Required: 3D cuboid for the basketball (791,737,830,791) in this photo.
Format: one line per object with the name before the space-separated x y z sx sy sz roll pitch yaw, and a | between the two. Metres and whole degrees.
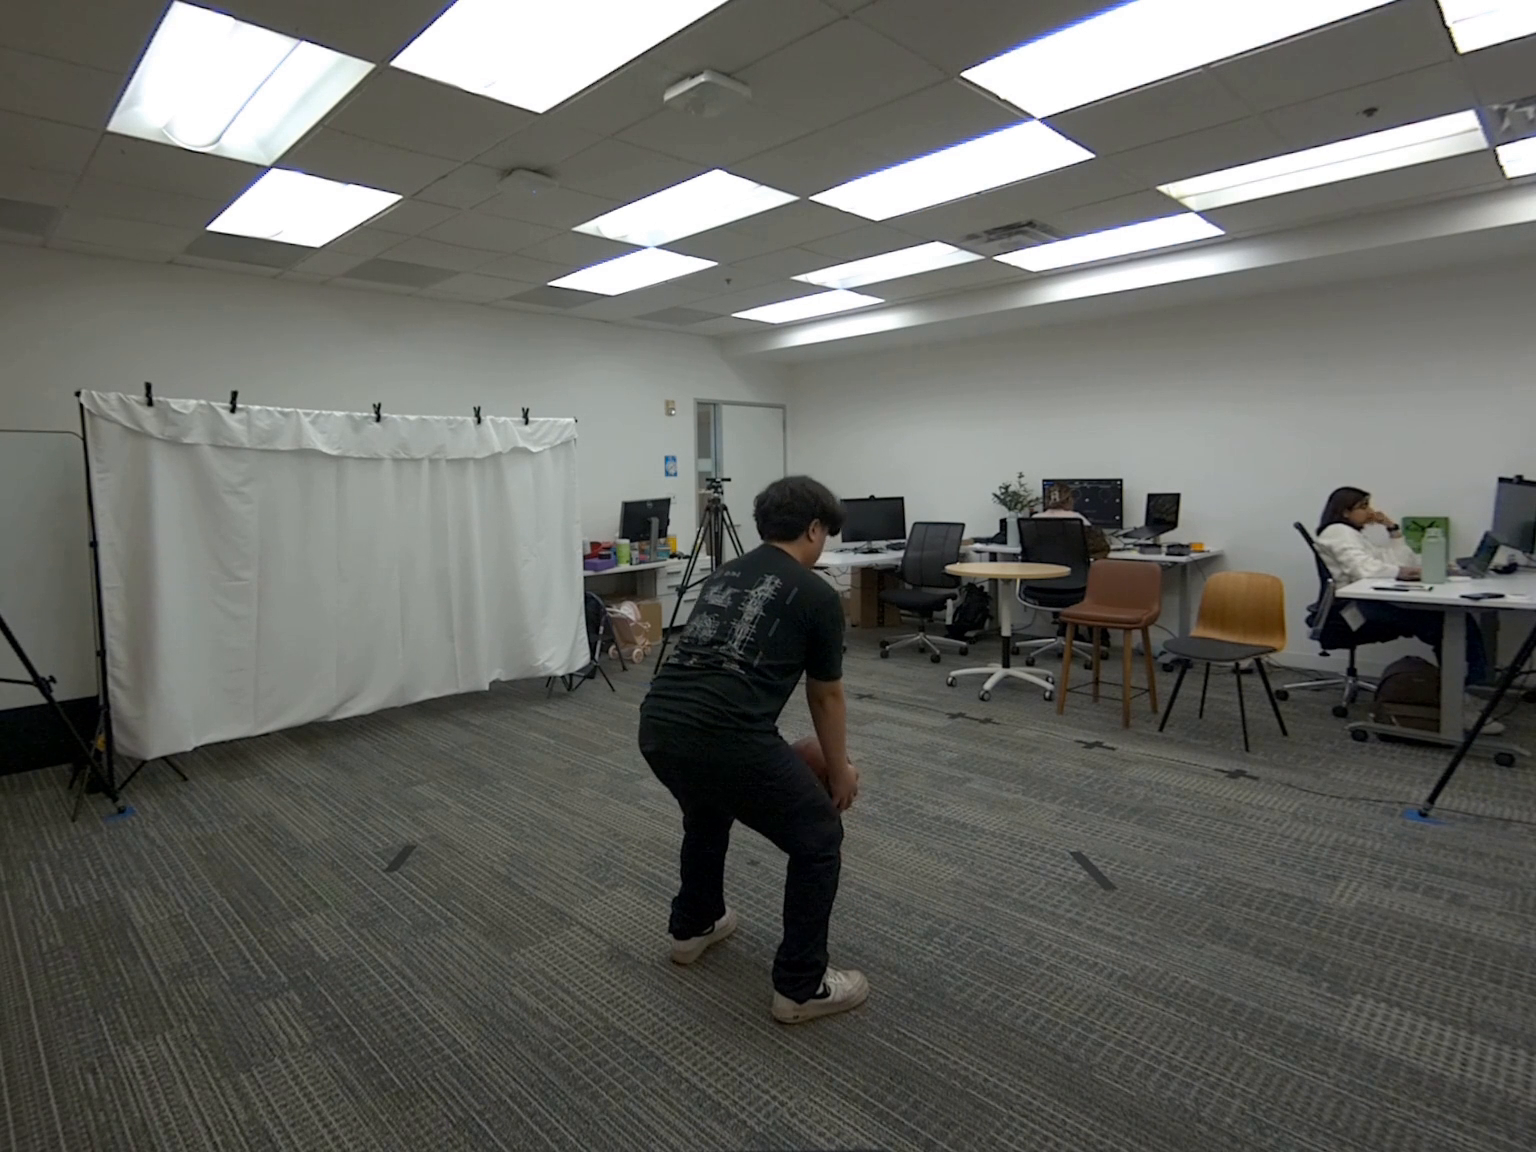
basketball | 0.158 0.611 2.576 0.236 0.235 0.237 -1 5 -2
